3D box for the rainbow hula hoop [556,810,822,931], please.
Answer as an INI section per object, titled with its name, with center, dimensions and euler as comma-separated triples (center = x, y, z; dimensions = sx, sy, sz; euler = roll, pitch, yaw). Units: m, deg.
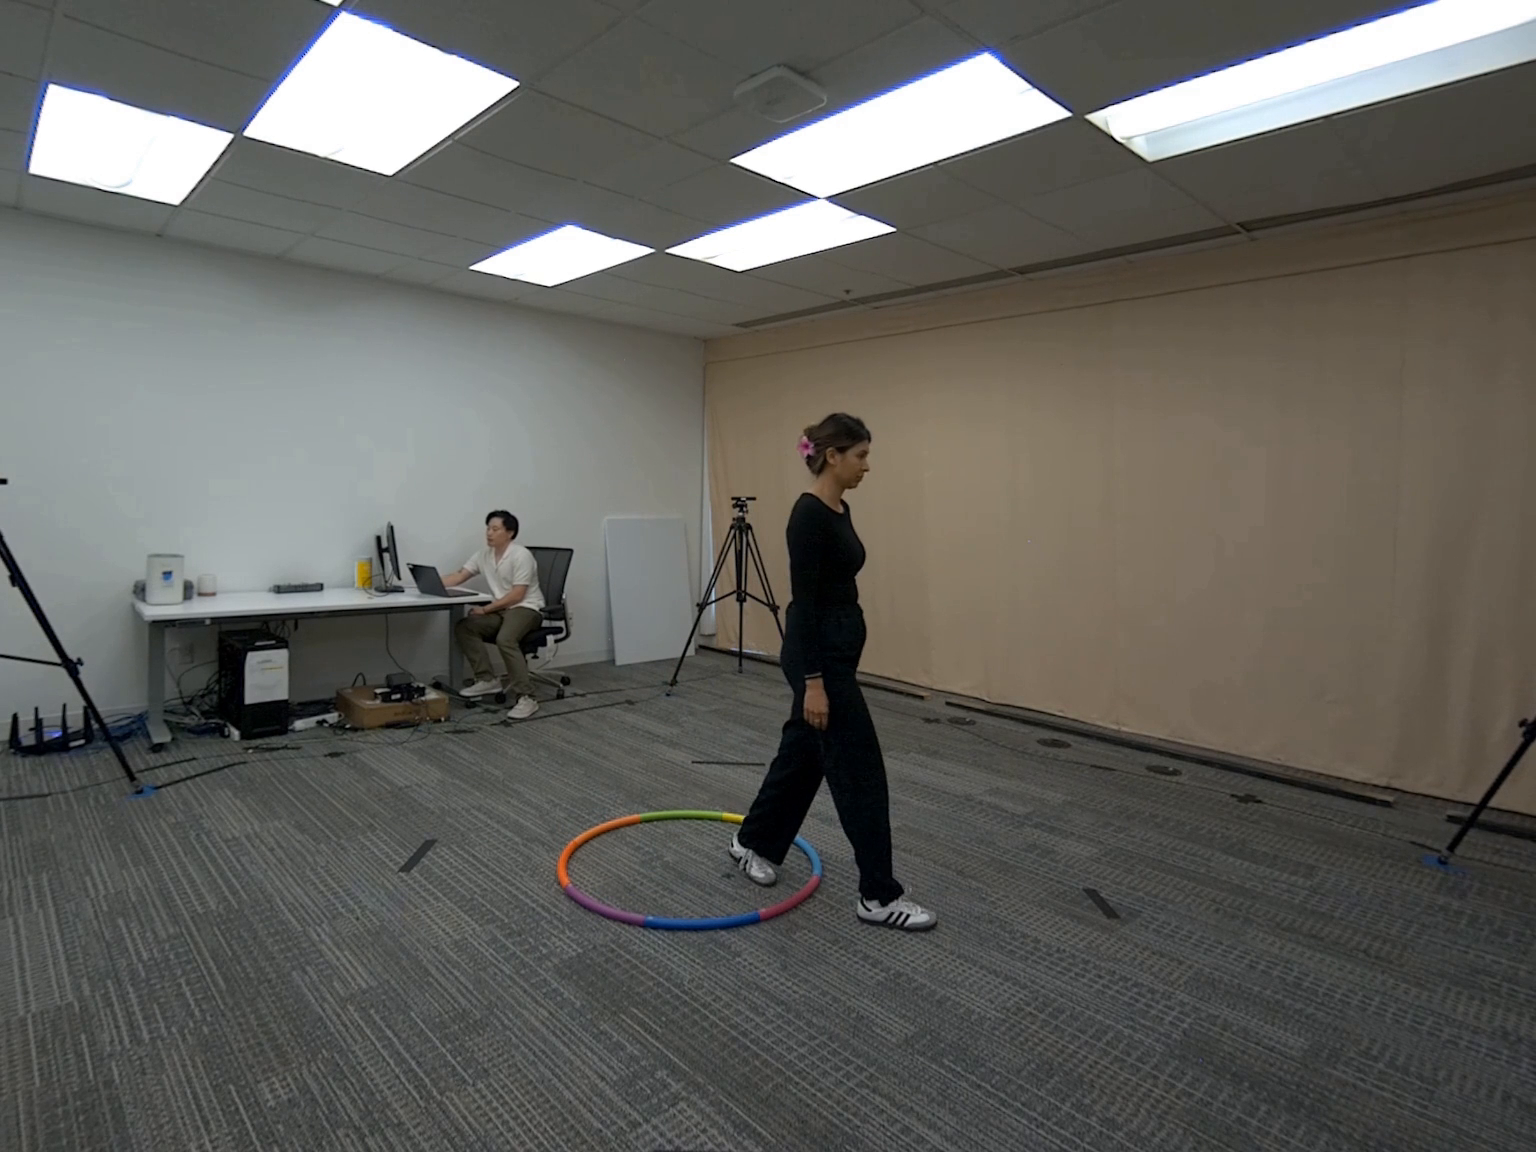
[rainbow hula hoop]
center = -0.298, 1.068, 3.181
dimensions = 0.978, 0.035, 0.982
euler = 1, 6, -1
